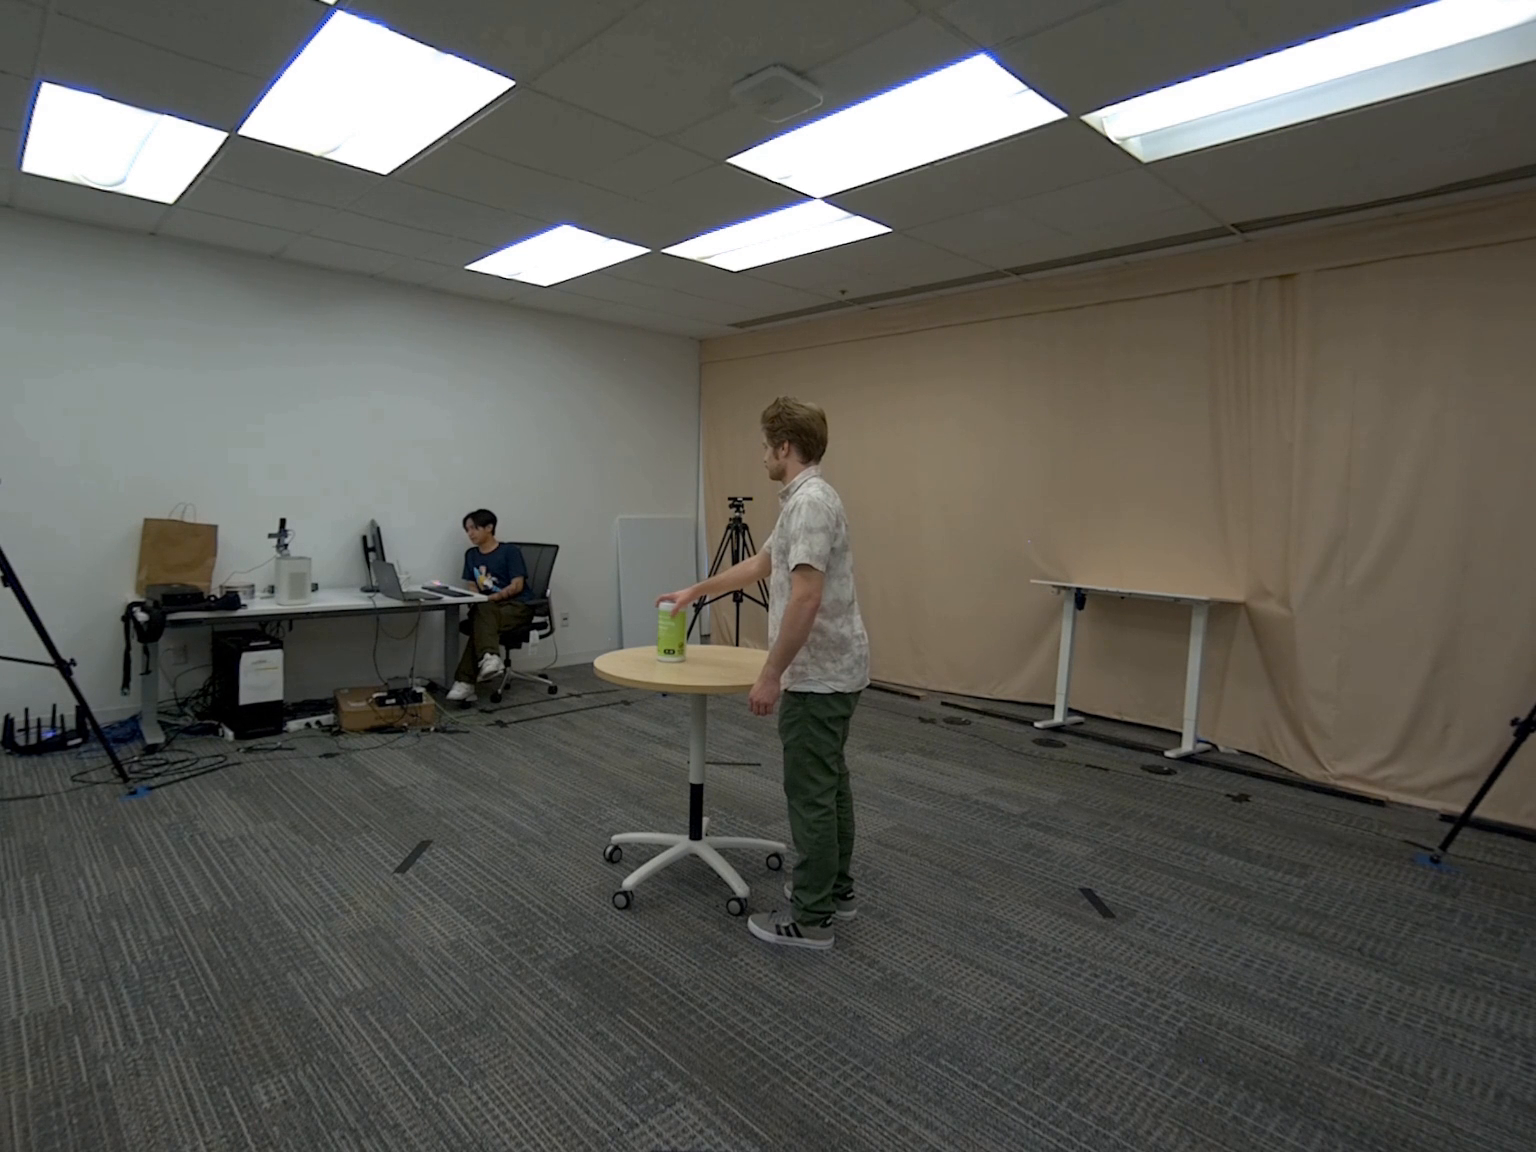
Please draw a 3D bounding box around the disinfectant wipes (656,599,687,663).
[{"bbox_3d":[-0.355,0.203,3.096,0.118,0.217,0.118,4,4,-2],"label":"disinfectant wipes"}]
